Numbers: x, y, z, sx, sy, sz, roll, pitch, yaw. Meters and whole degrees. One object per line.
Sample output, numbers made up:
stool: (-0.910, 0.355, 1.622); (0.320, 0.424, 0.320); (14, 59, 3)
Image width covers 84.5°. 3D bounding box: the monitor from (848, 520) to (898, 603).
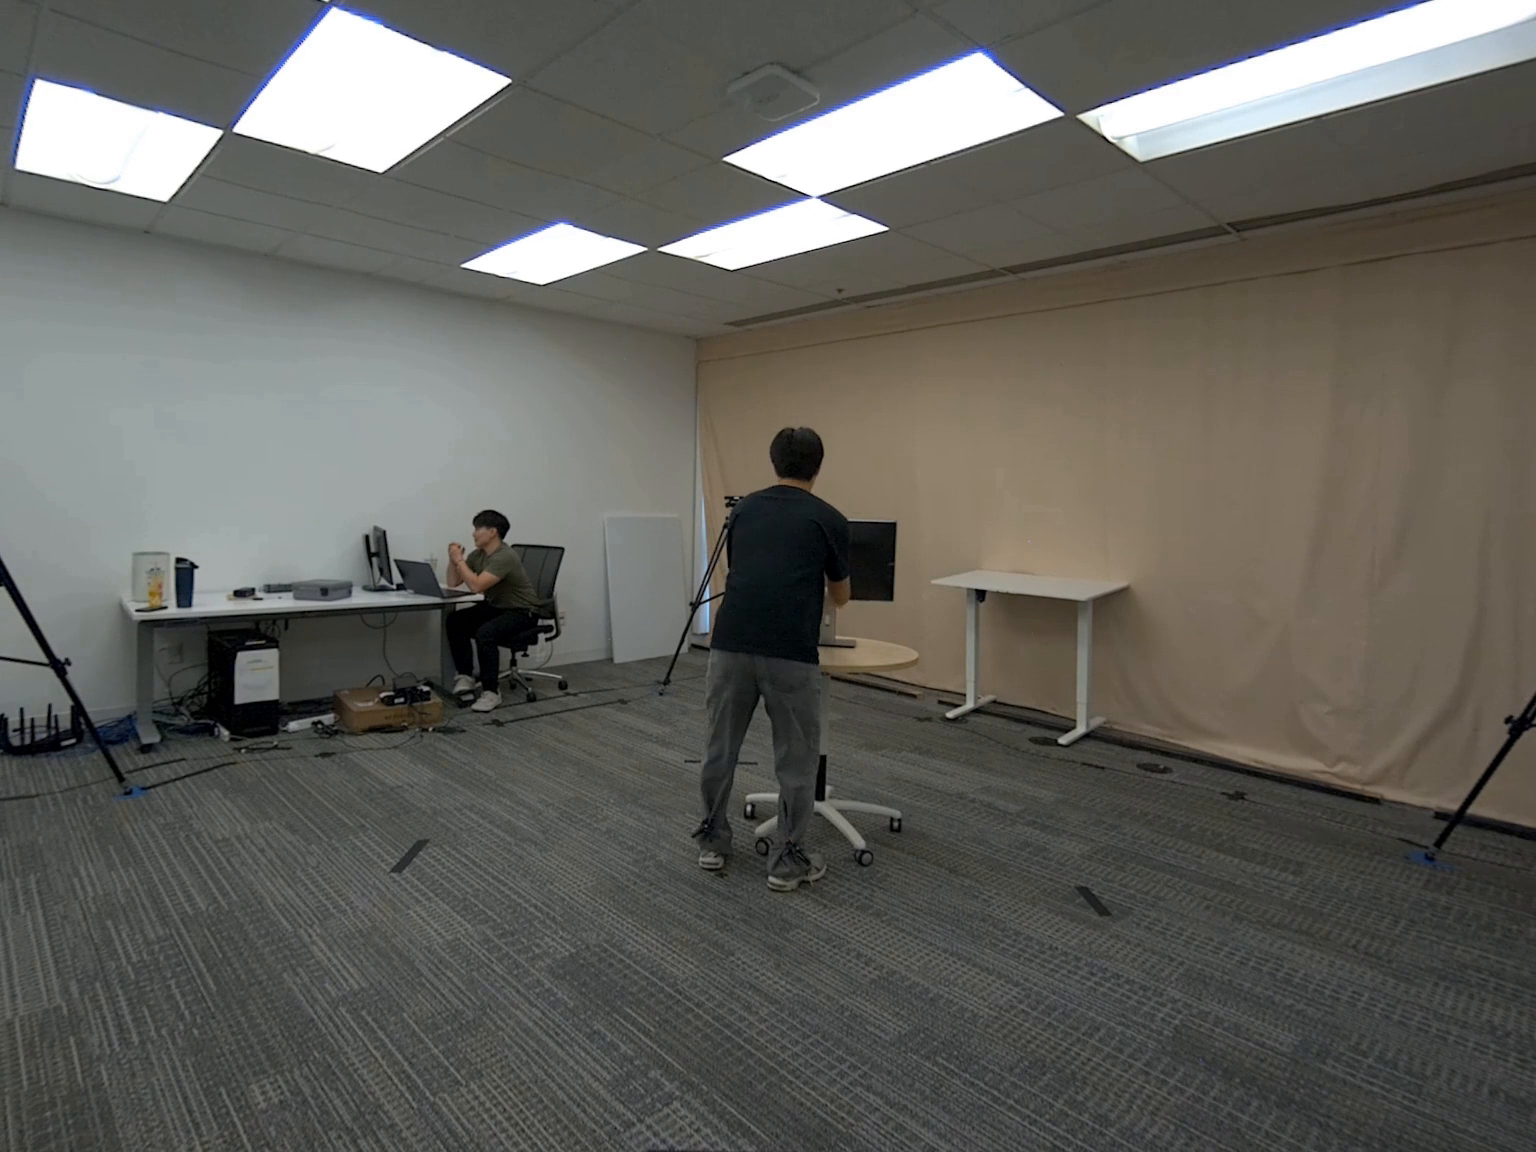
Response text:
monitor: (0.259, 0.032, 3.641); (0.567, 0.566, 0.220); (3, 0, 12)
